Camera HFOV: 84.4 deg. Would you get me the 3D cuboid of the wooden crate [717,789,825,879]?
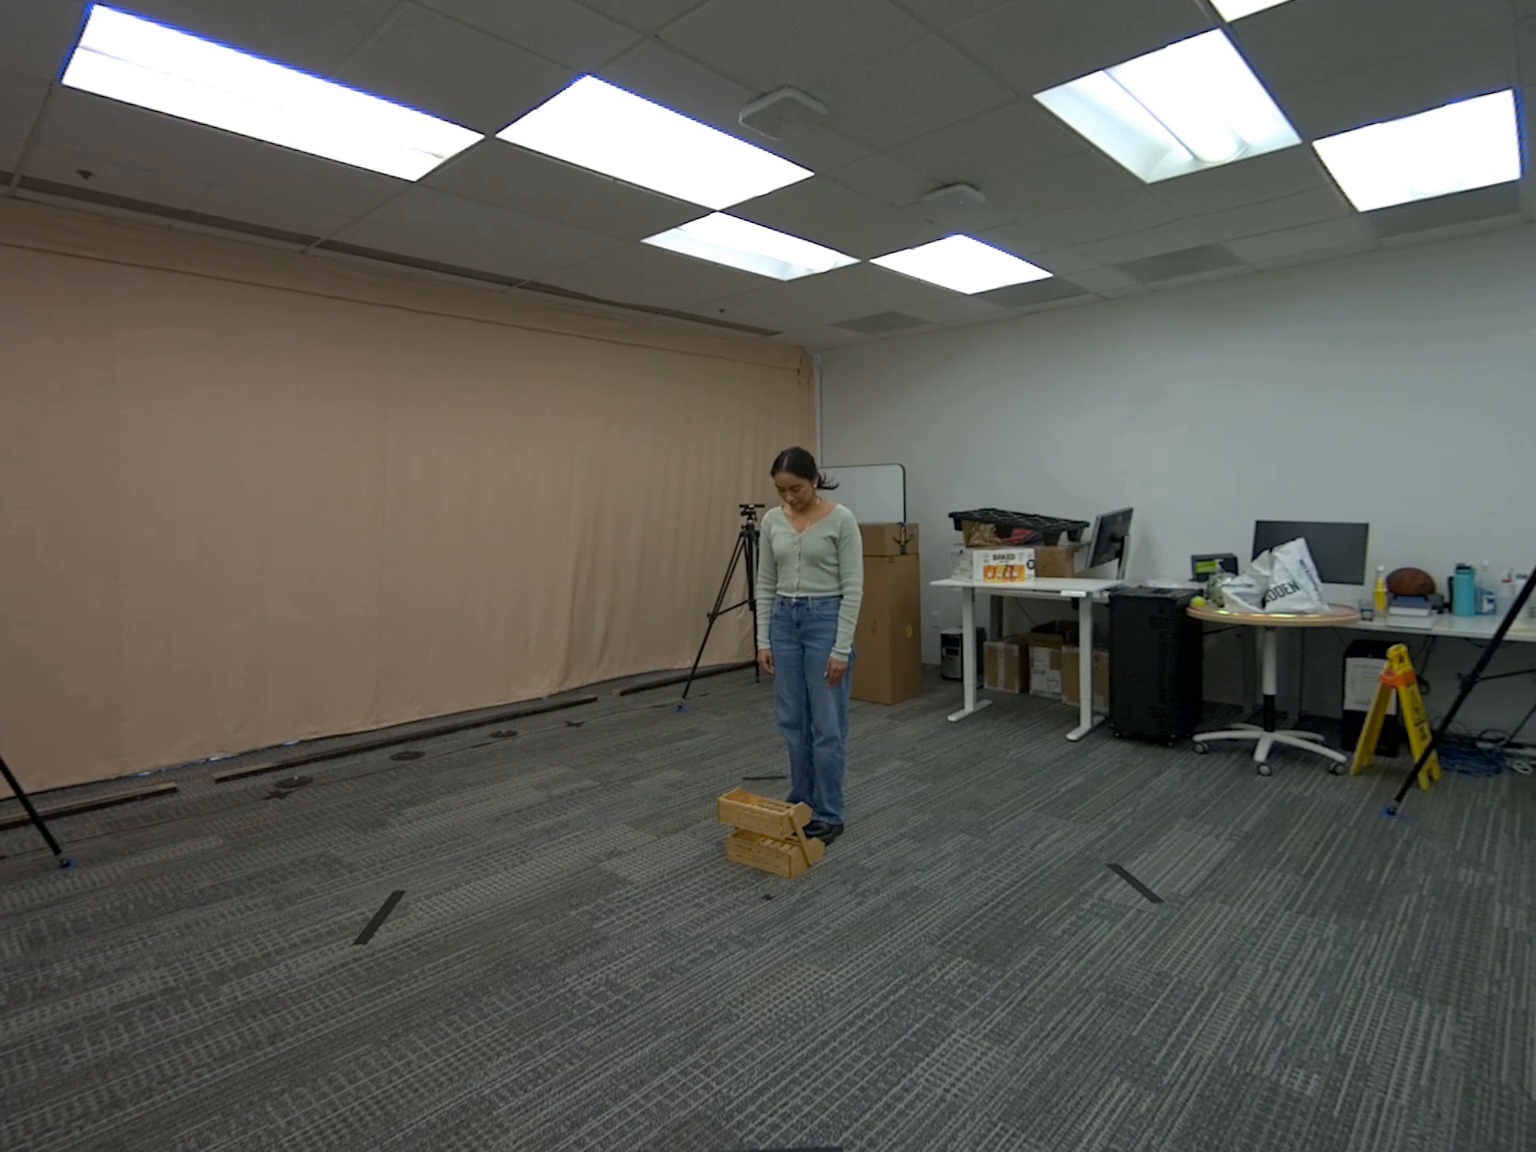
[{"bbox_3d":[0.015,0.979,3.286,0.335,0.272,0.293,2,6,35],"label":"wooden crate"}]
